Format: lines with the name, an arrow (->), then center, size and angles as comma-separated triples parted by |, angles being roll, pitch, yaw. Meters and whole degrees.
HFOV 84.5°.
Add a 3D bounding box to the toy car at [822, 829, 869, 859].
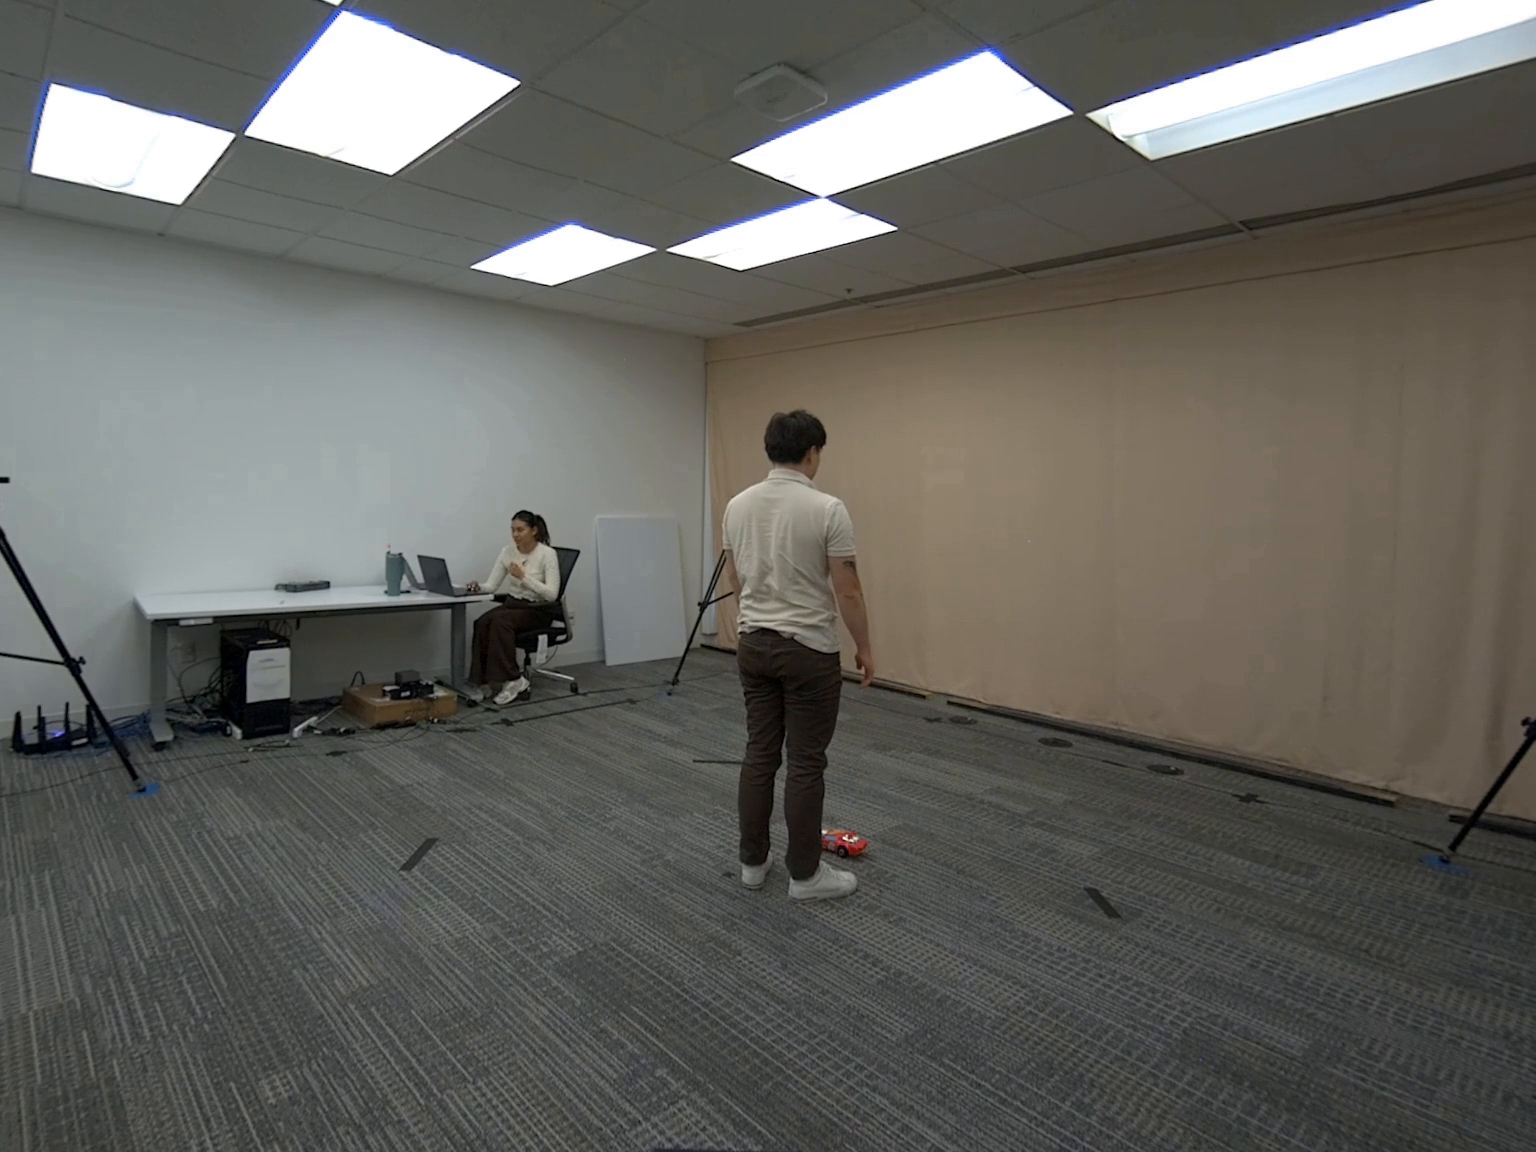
toy car -> 0.270, 1.058, 3.343 | 0.259, 0.083, 0.127 | -8, -2, 35
